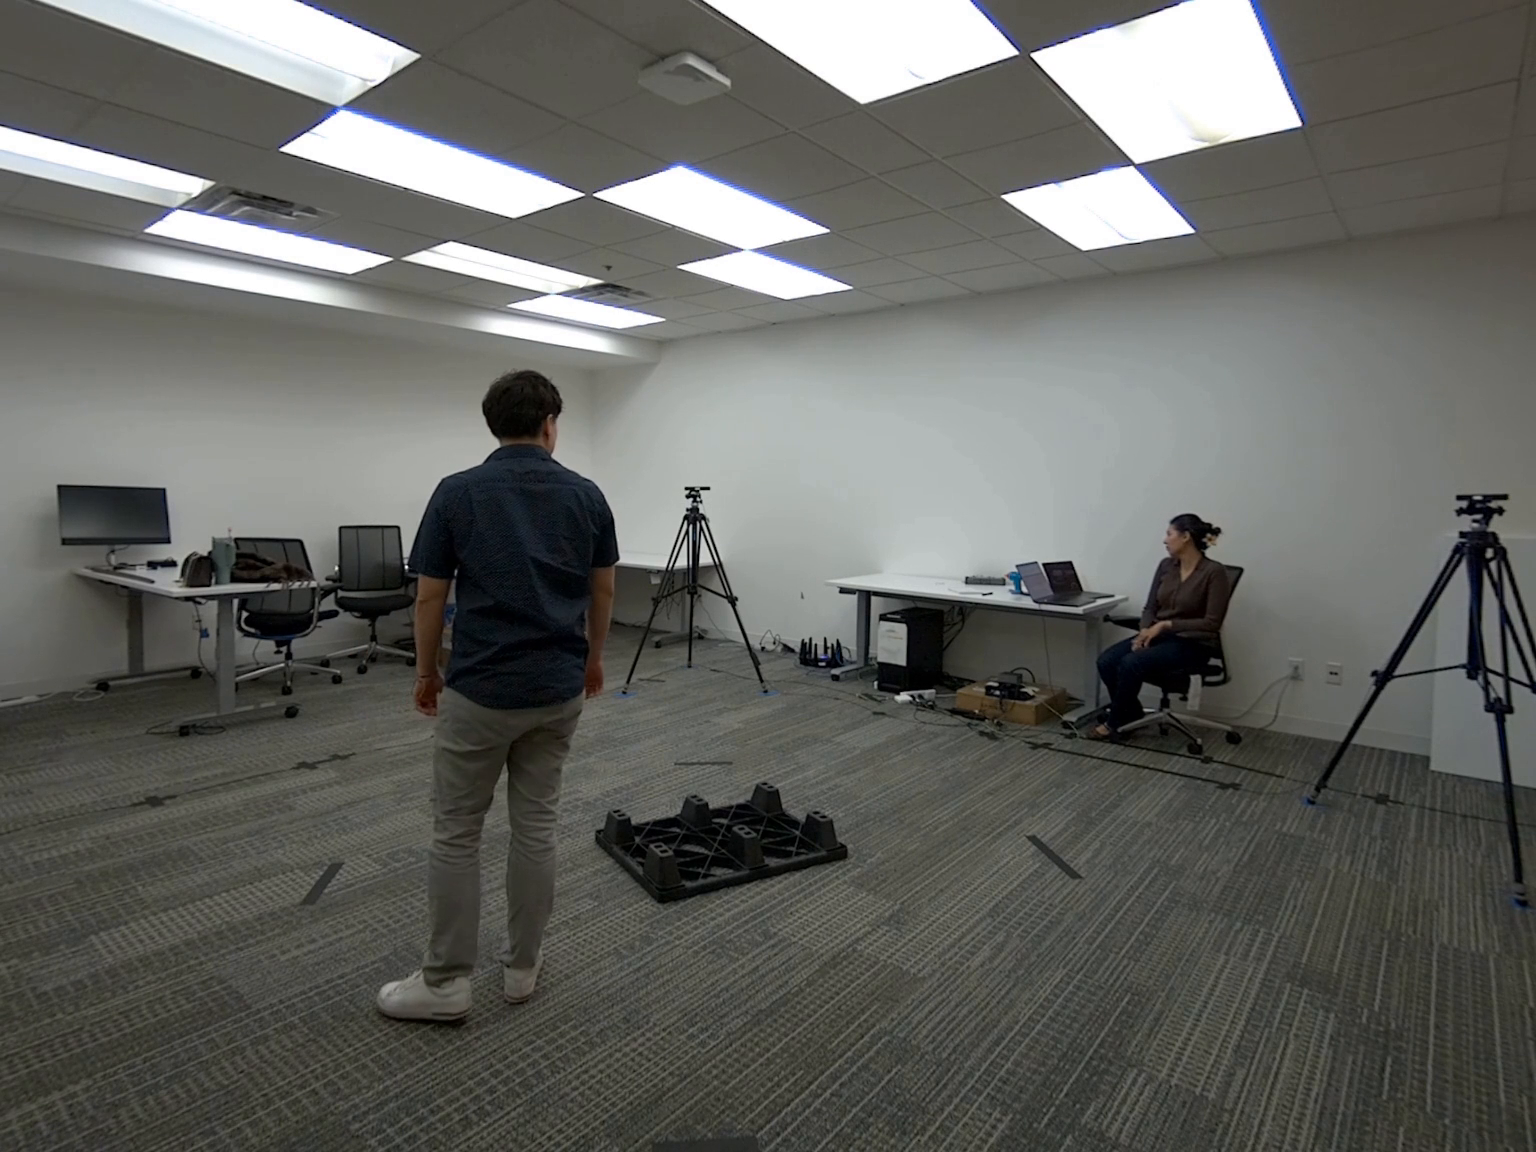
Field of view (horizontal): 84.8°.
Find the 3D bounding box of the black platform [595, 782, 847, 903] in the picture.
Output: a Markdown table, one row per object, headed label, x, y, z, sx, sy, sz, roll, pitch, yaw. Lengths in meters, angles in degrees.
| label | x | y | z | sx | sy | sz | roll | pitch | yaw |
| --- | --- | --- | --- | --- | --- | --- | --- | --- | --- |
| black platform | -0.198 | 0.981 | 3.270 | 0.784 | 0.143 | 0.624 | -3 | 6 | -32 |
